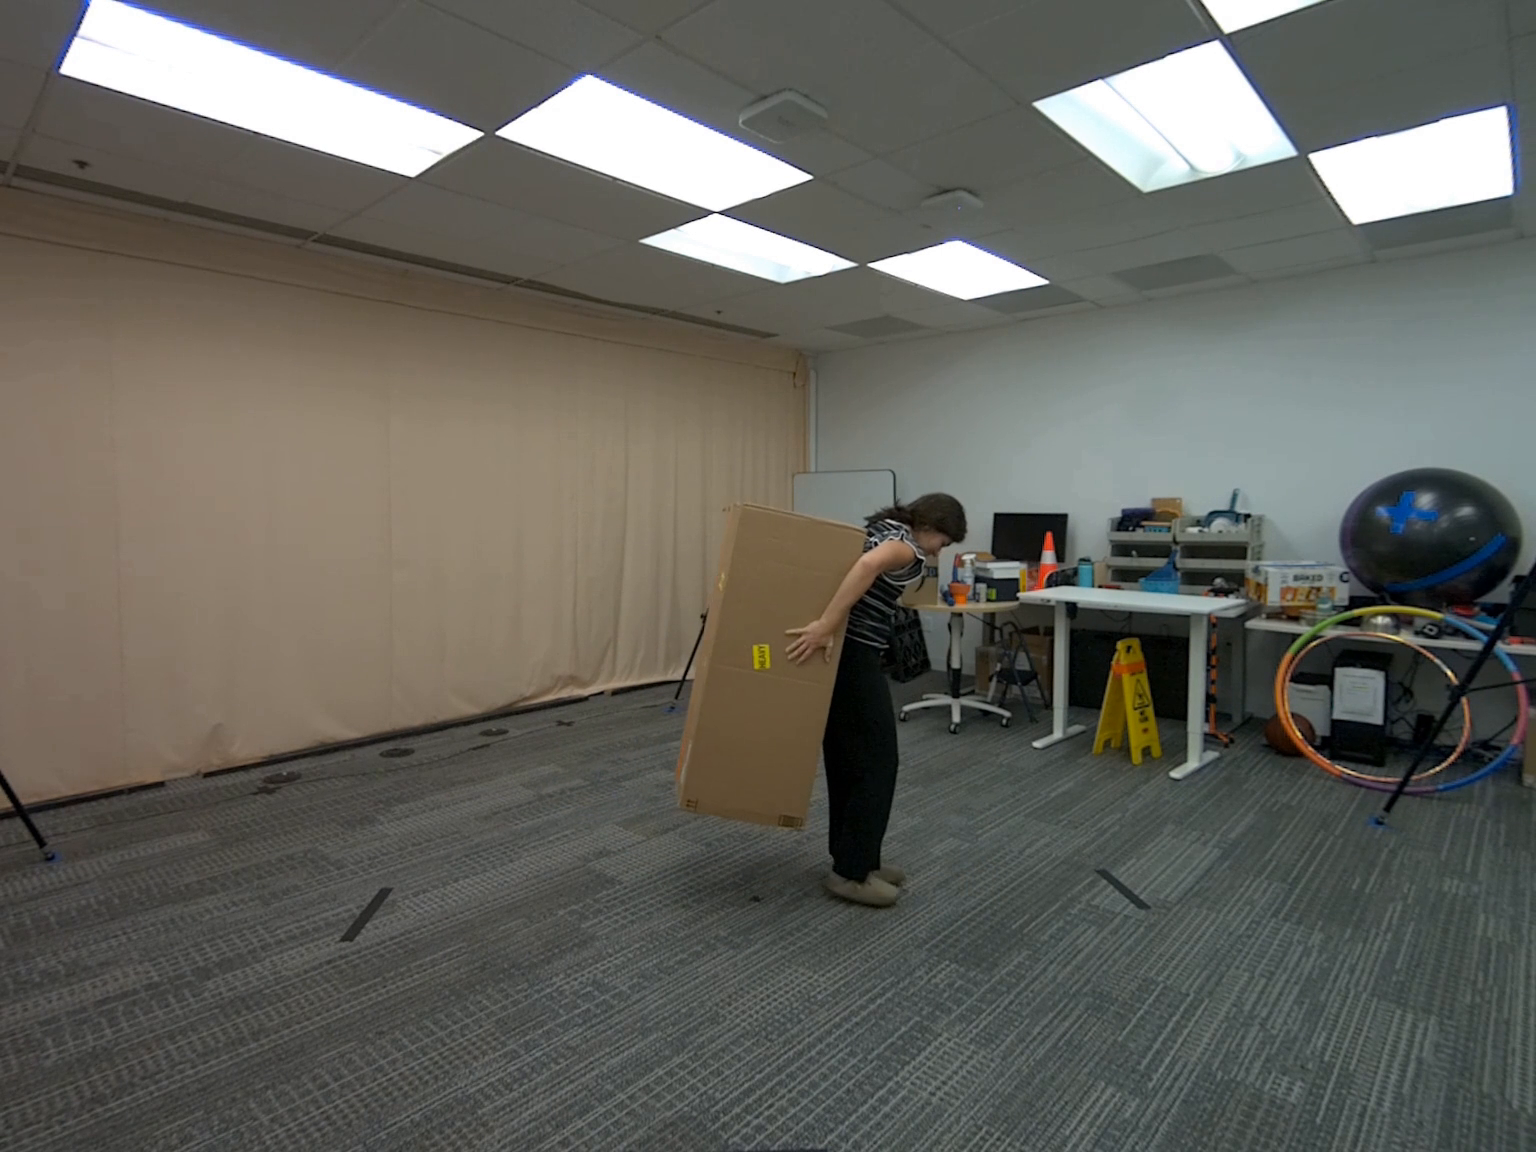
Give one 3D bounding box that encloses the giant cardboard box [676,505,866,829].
[{"bbox_3d":[-0.014,0.285,3.023,0.424,1.025,0.581,11,2,-6],"label":"giant cardboard box"}]
